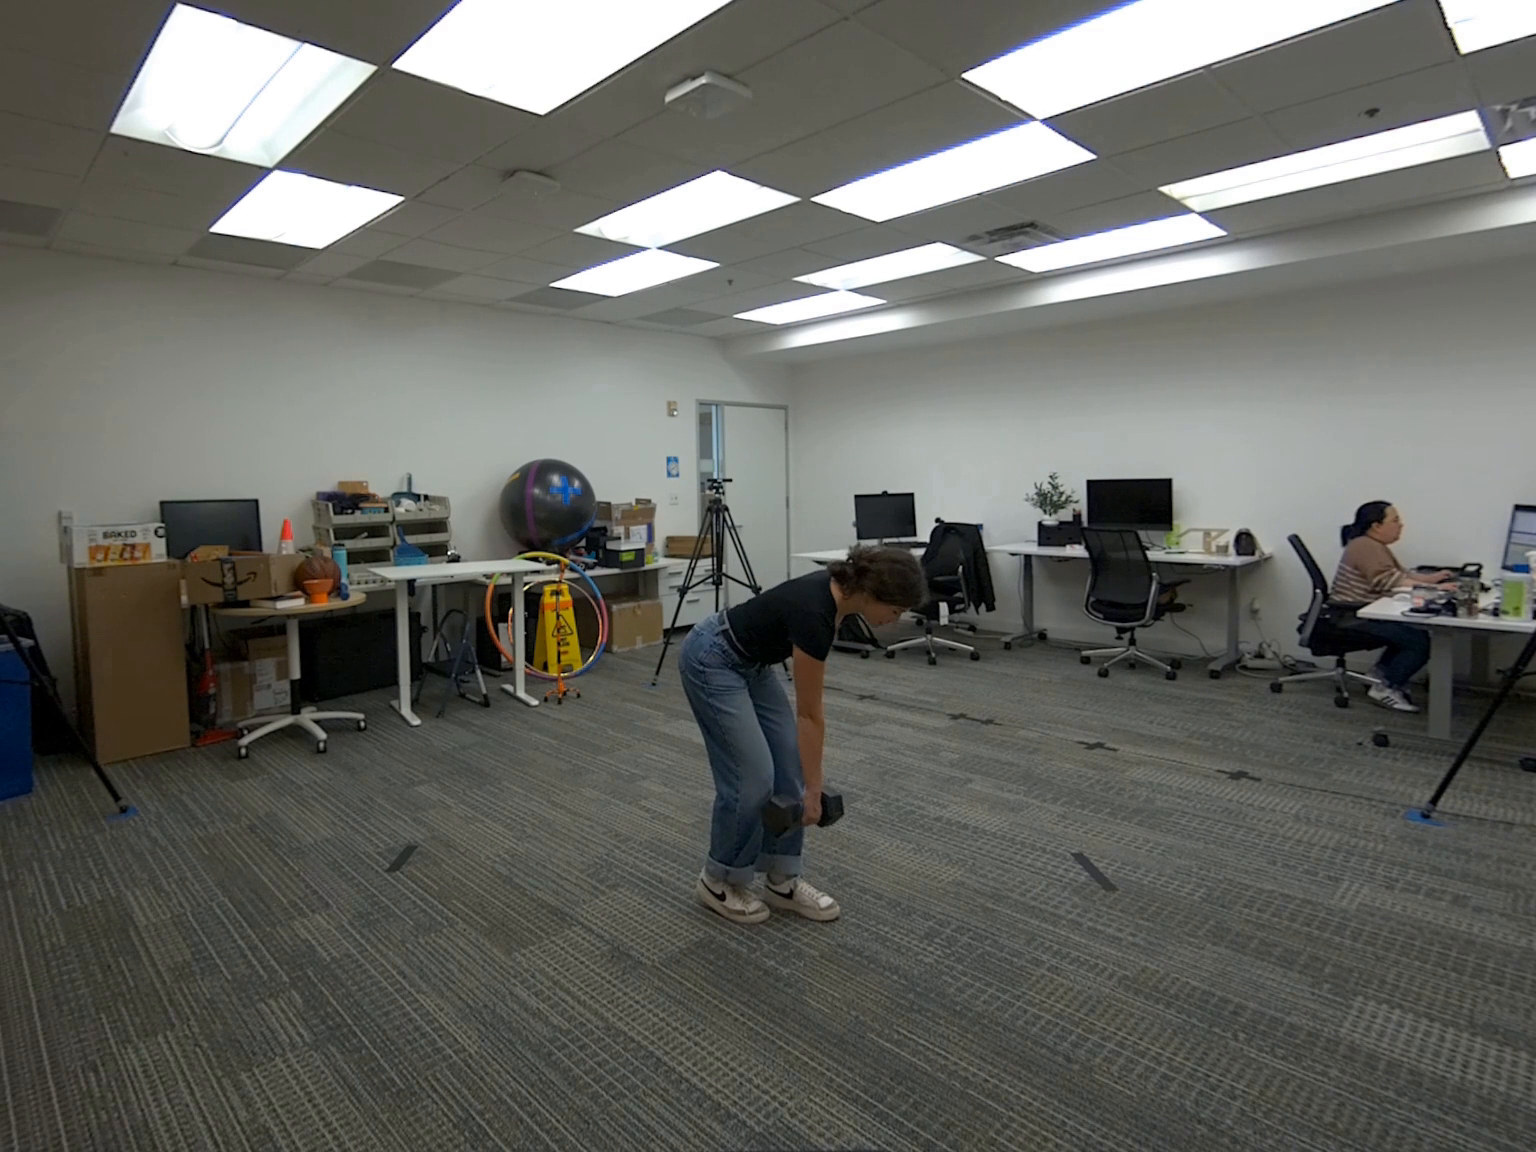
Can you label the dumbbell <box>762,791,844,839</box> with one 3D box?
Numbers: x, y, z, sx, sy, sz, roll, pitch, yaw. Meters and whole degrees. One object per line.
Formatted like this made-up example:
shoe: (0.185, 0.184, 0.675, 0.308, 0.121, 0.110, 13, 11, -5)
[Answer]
dumbbell: (0.099, 0.725, 2.638, 0.284, 0.112, 0.123, 4, -46, -50)
